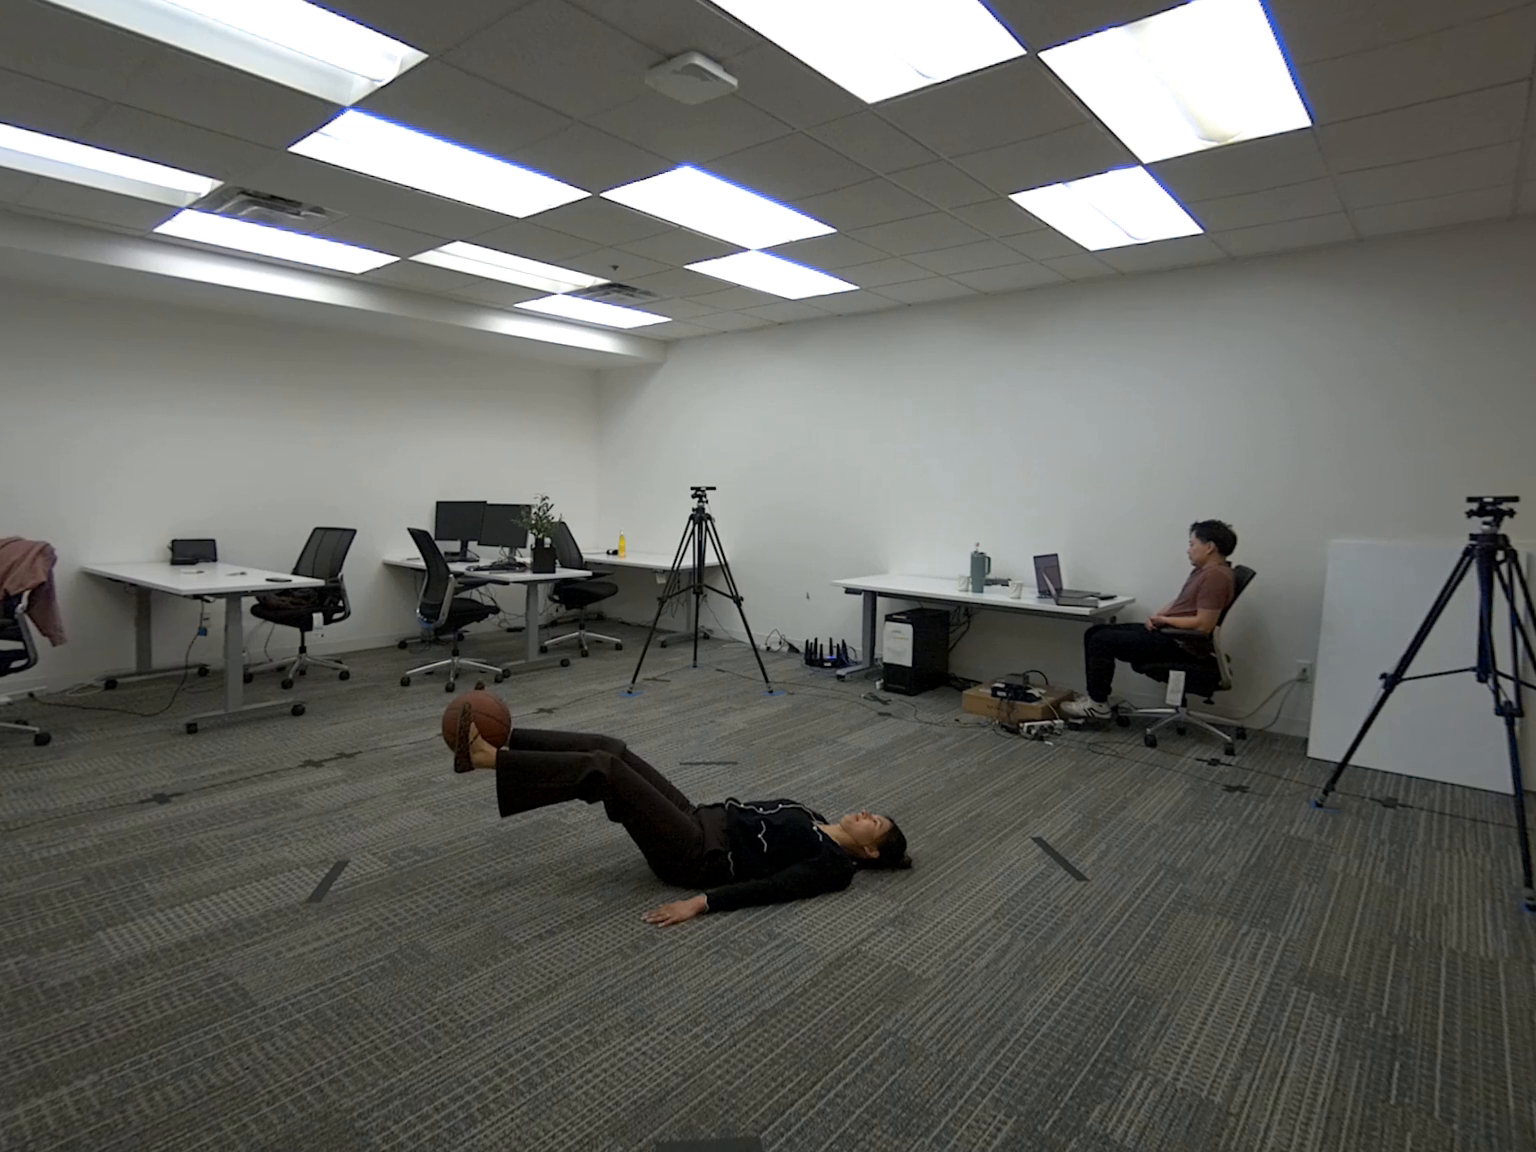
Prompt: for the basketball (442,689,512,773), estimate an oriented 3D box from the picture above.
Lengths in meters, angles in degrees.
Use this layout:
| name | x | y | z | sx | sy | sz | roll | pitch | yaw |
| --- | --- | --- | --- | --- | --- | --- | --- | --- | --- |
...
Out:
| name | x | y | z | sx | sy | sz | roll | pitch | yaw |
| --- | --- | --- | --- | --- | --- | --- | --- | --- | --- |
| basketball | -1.031 | 0.512 | 2.976 | 0.236 | 0.234 | 0.238 | 0 | 7 | -2 |
